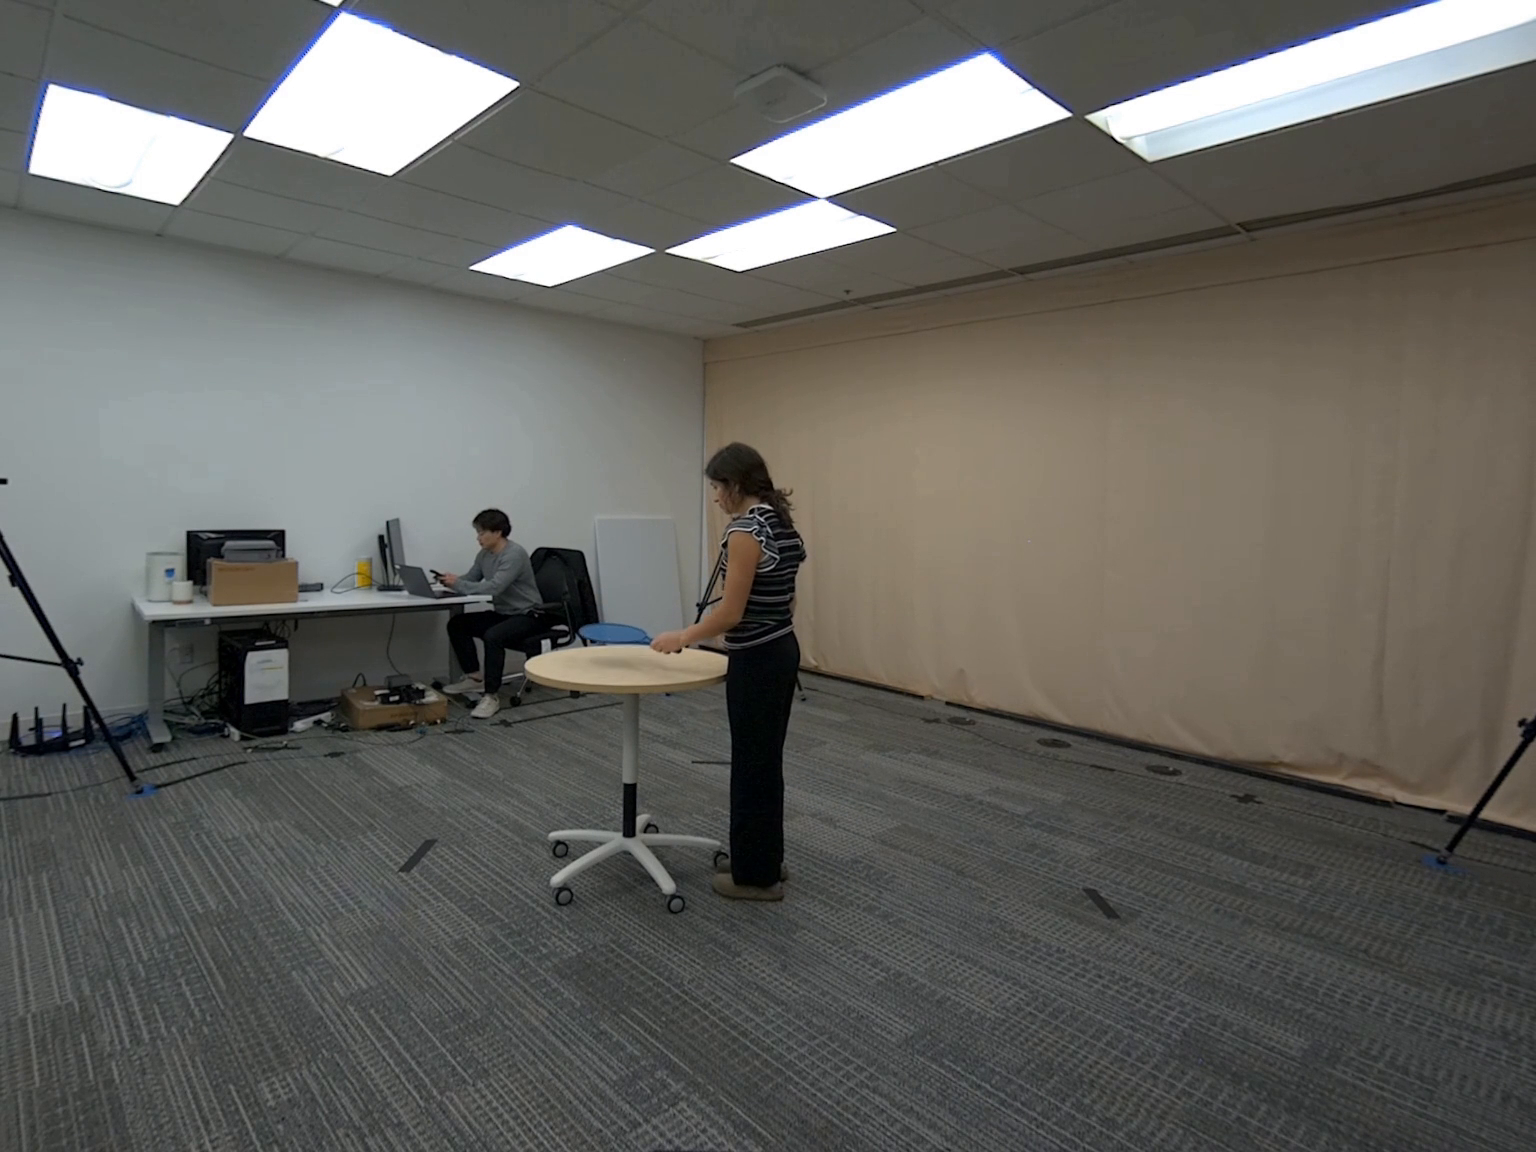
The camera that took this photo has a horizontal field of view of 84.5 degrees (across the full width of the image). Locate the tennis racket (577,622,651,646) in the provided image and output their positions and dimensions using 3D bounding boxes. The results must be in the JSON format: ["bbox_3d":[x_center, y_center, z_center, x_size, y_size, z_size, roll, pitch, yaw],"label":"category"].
[{"bbox_3d":[-0.506,0.228,3.049,0.442,0.031,0.211,9,15,24],"label":"tennis racket"}]
